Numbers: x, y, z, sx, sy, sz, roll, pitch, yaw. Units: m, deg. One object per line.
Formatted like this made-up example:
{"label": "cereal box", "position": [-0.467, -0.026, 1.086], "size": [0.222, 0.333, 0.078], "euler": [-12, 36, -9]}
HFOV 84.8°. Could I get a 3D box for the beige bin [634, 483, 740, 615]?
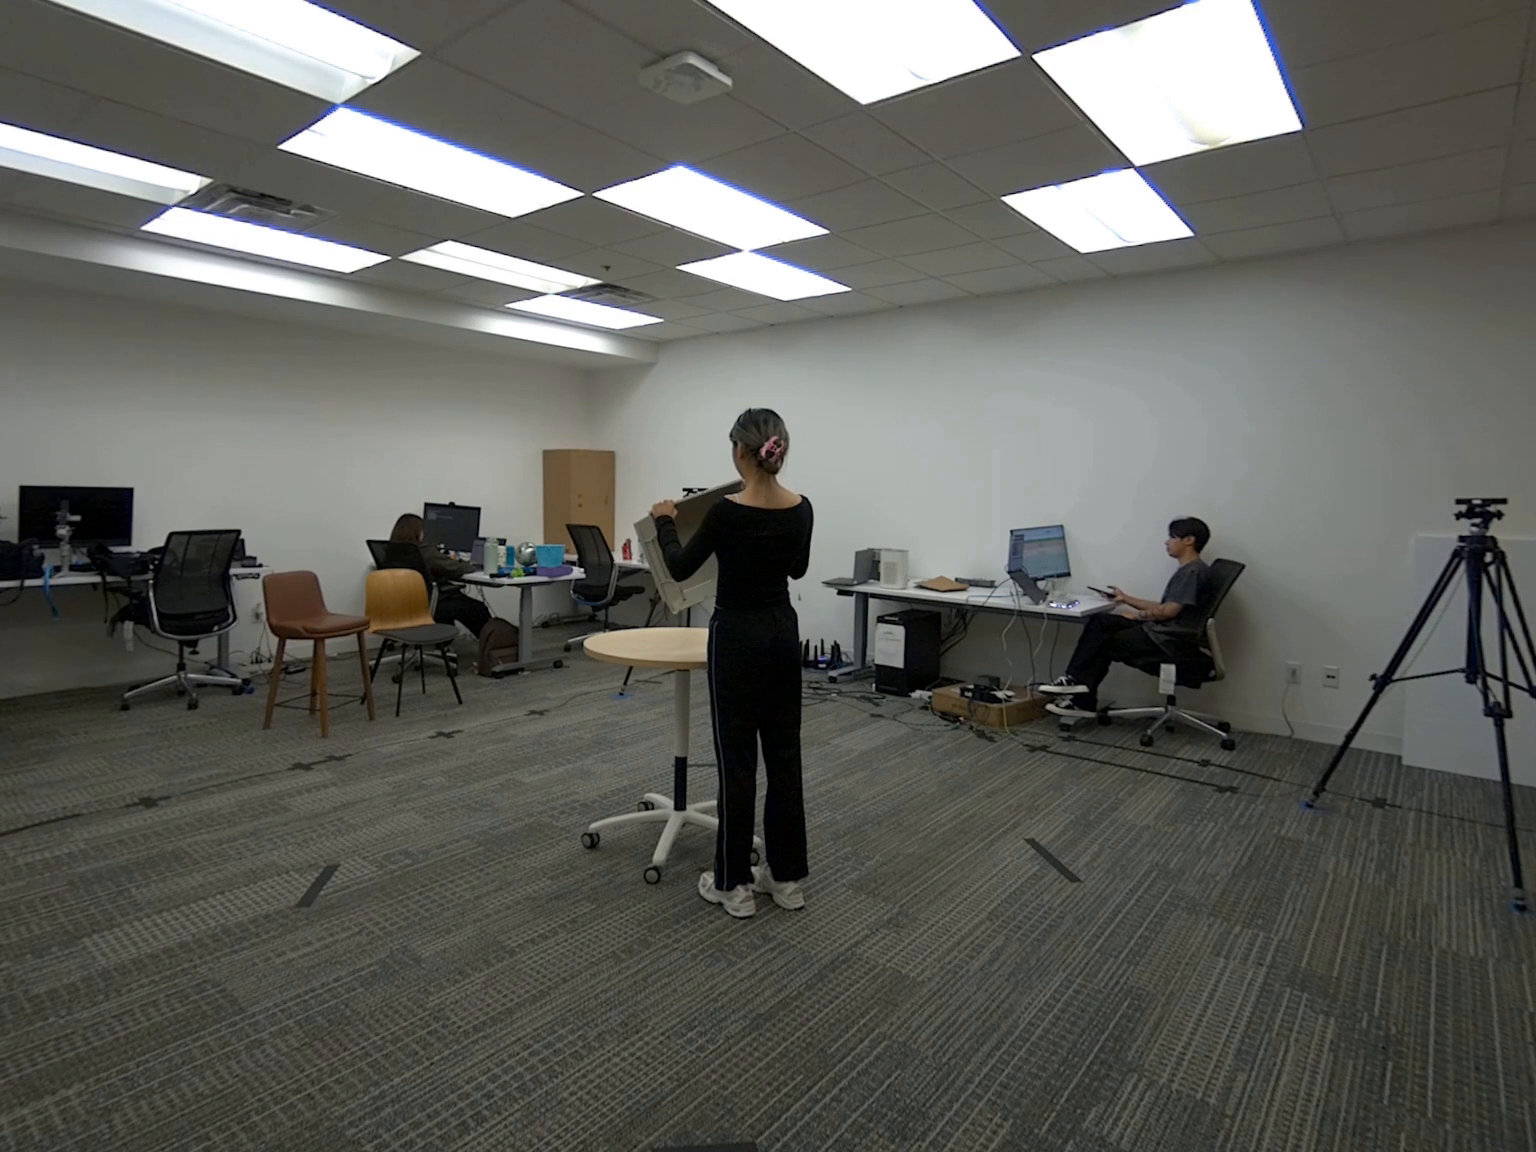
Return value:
{"label": "beige bin", "position": [-0.243, -0.112, 3.161], "size": [0.415, 0.378, 0.192], "euler": [-22, 0, -29]}
